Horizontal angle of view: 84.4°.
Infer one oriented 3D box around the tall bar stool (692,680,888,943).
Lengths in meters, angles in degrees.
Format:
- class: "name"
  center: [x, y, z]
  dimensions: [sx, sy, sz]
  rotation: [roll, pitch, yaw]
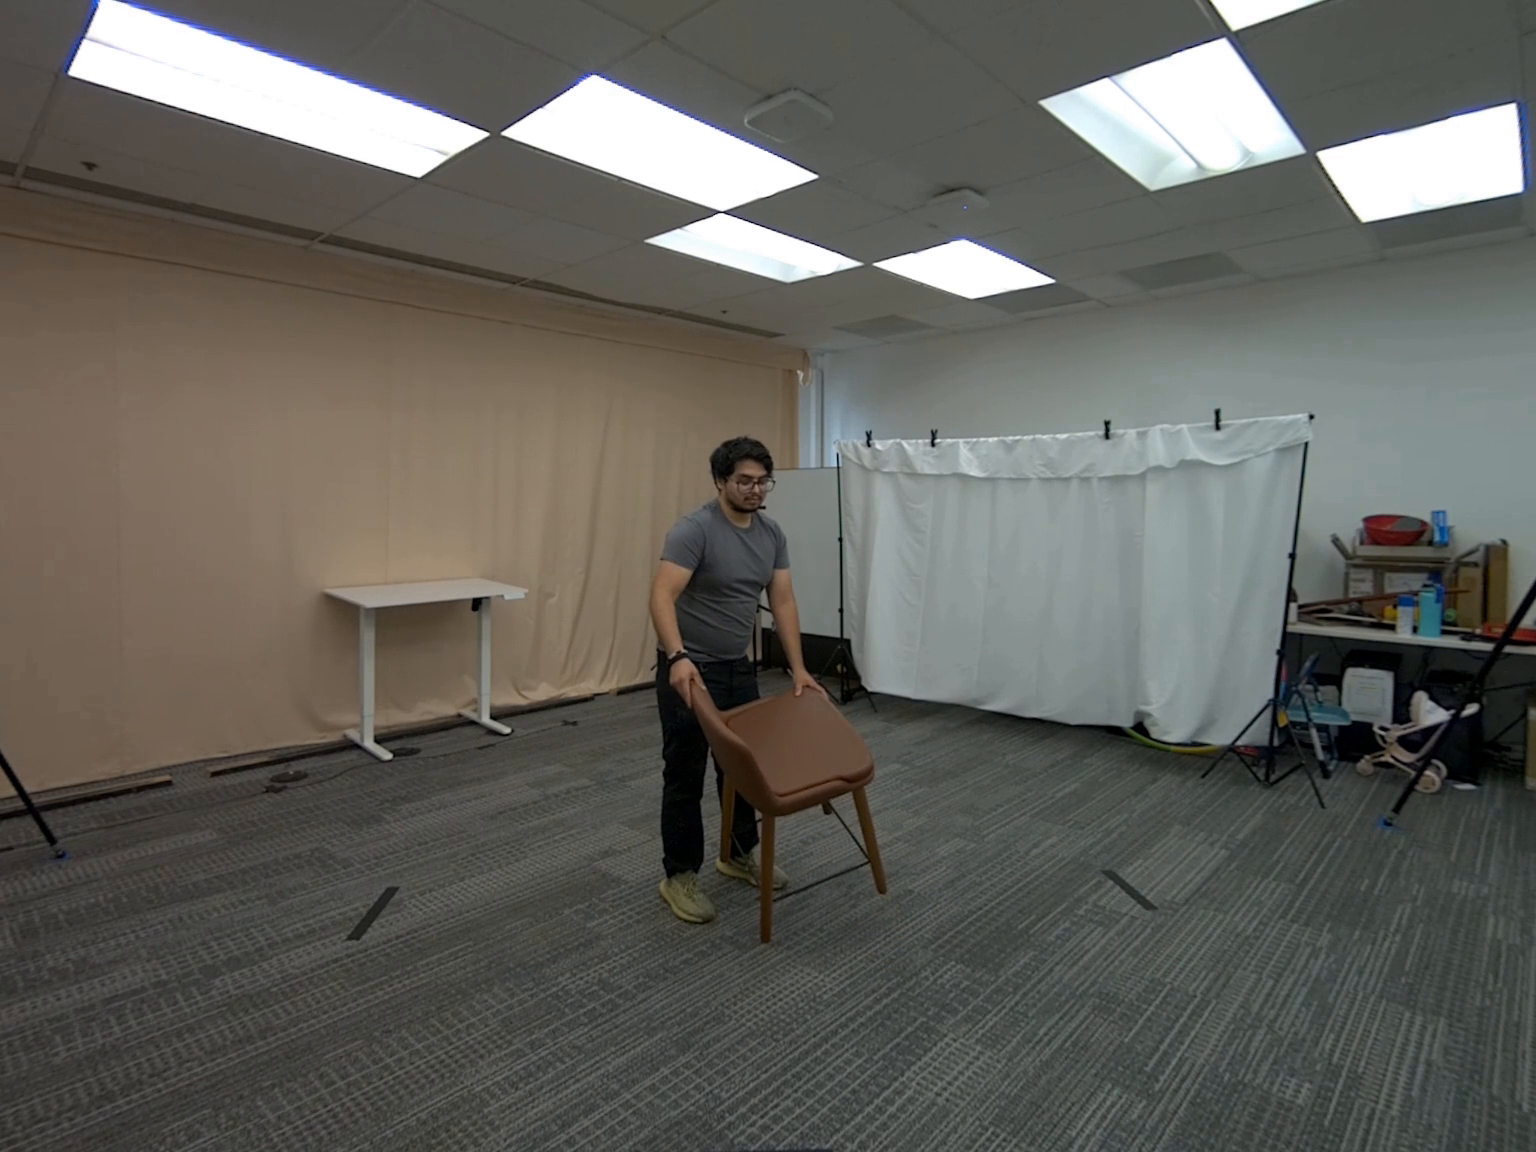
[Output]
- class: "tall bar stool"
  center: [0.068, 0.659, 2.670]
  dimensions: [0.462, 0.871, 0.472]
  rotation: [-19, 32, -16]
